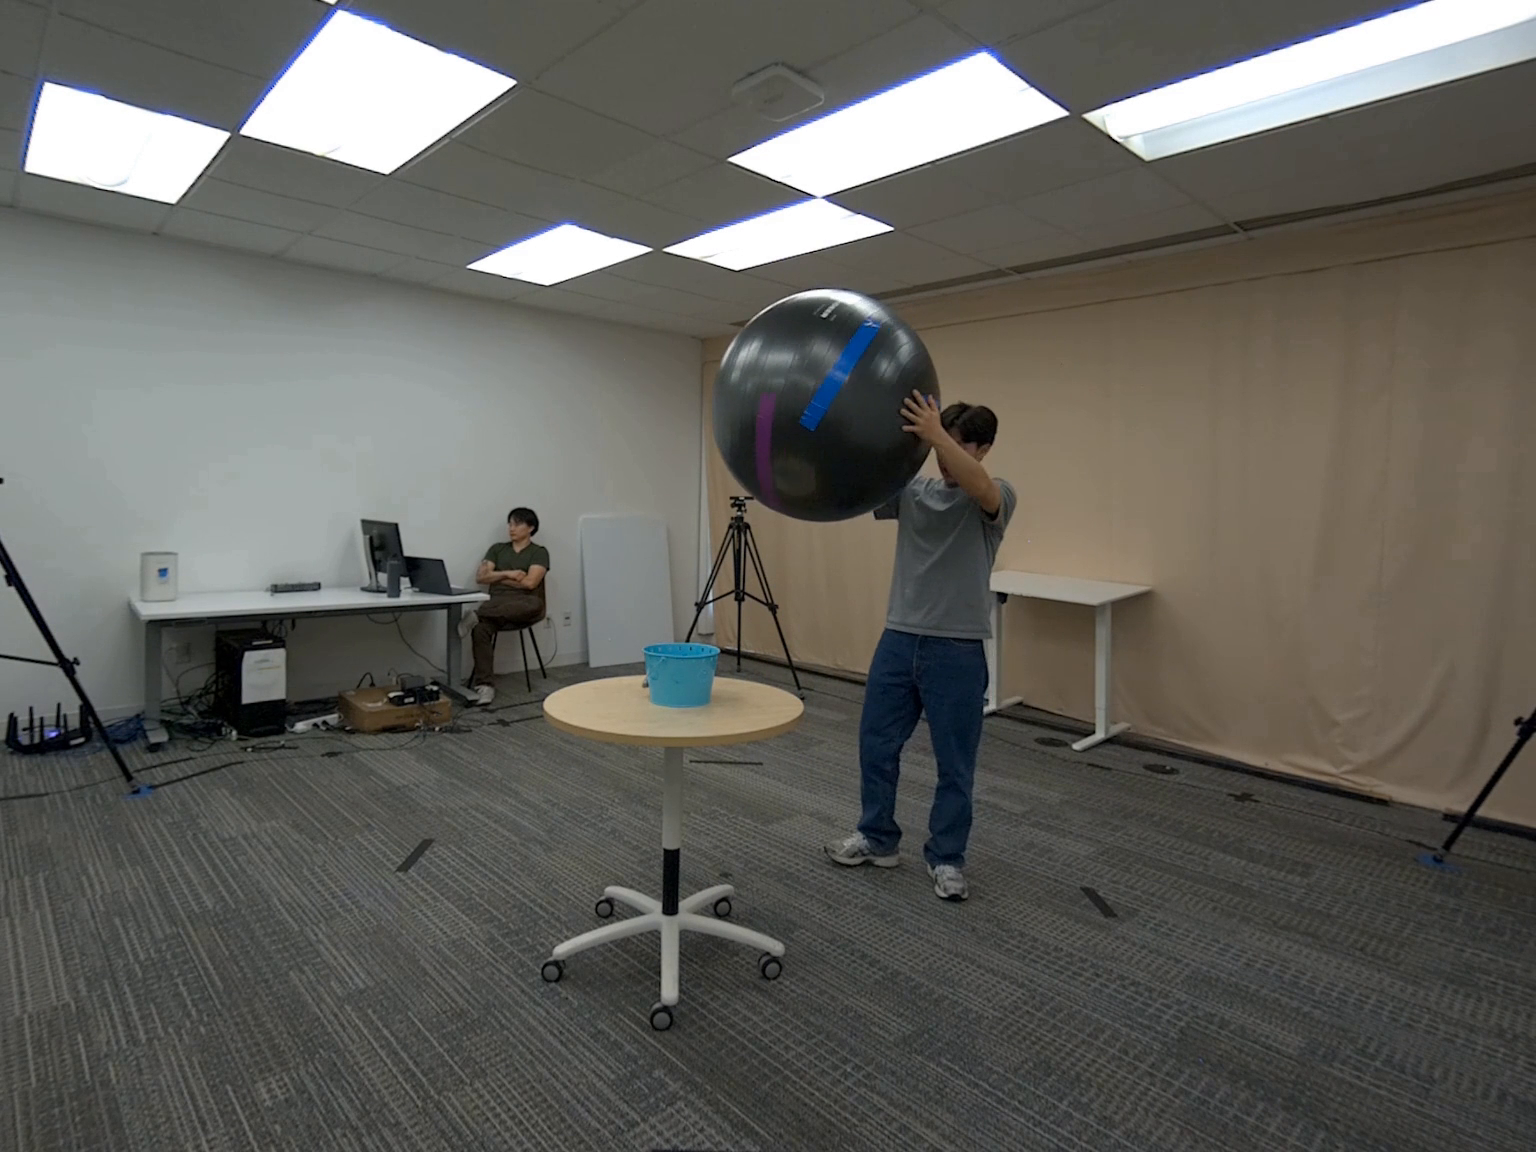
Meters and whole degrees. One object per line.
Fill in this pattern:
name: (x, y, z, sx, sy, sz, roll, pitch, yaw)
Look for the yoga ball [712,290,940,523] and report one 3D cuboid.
yoga ball: (0.178, -0.558, 2.821, 0.757, 0.756, 0.761, 1, 4, -1)
